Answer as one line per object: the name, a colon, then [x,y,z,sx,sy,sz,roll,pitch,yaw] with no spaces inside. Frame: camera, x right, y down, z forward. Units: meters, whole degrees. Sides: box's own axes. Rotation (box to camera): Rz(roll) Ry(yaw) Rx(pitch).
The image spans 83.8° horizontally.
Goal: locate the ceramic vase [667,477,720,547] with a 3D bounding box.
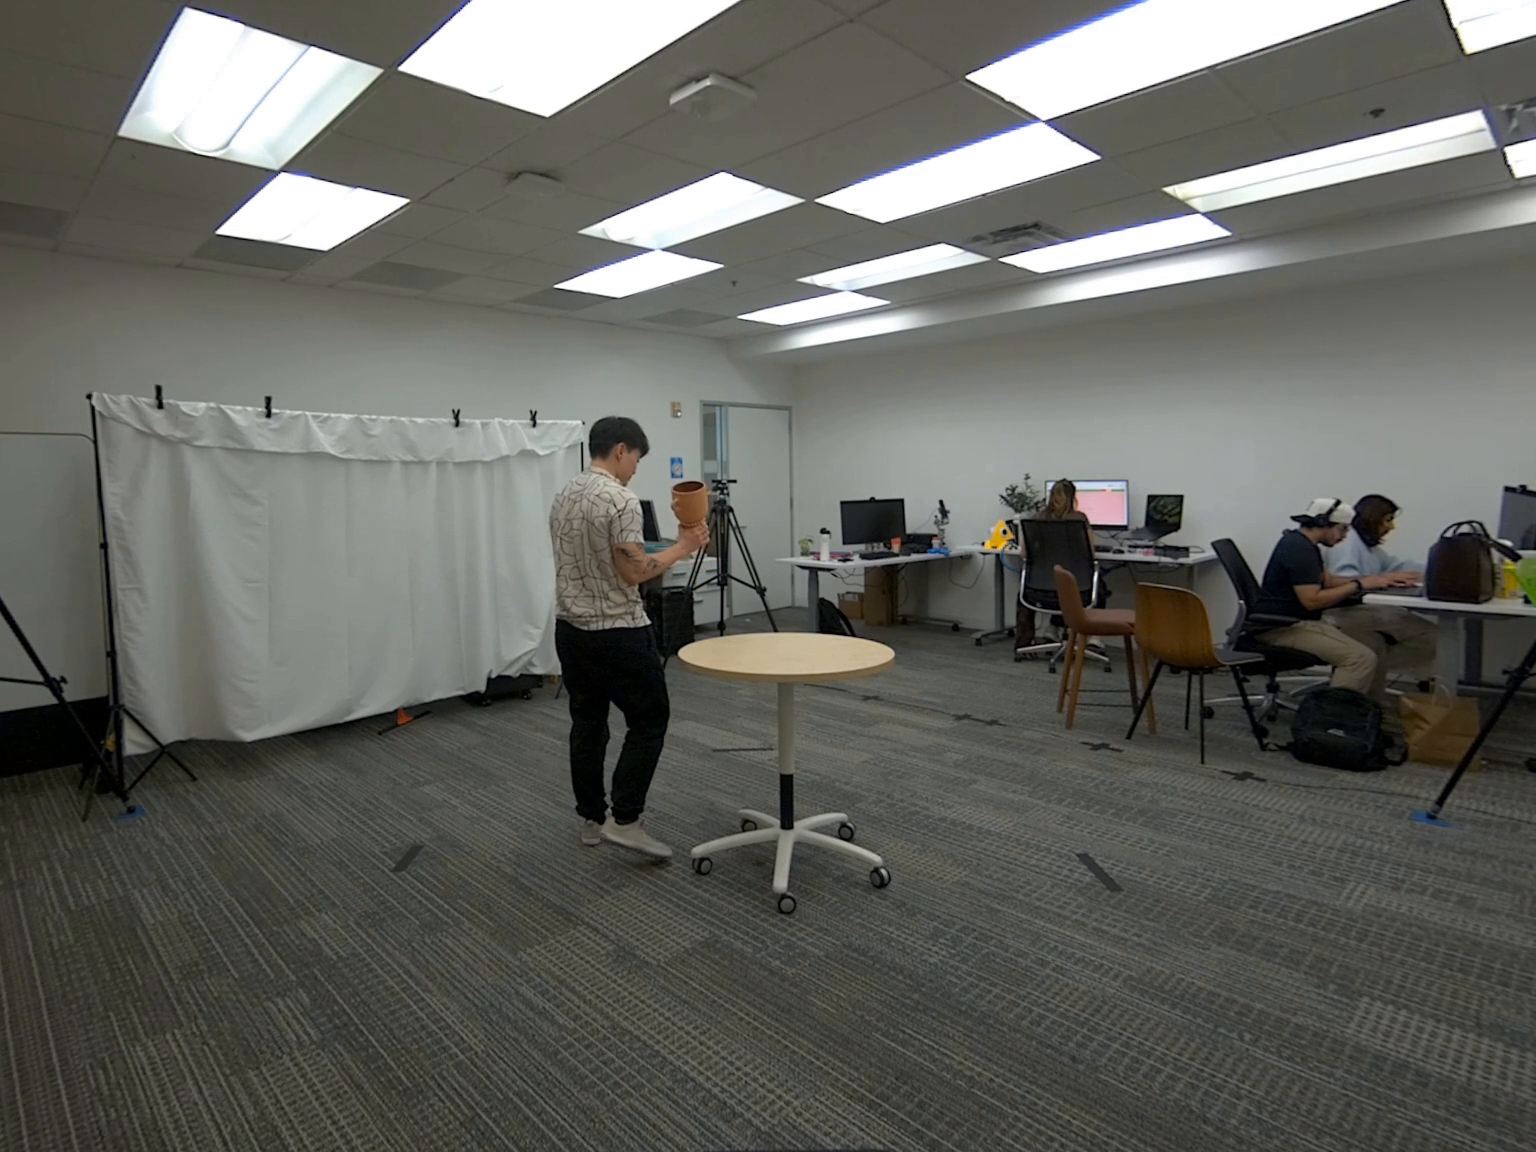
ceramic vase: [-0.286,-0.239,3.260,0.158,0.215,0.139,-9,26,-9]
